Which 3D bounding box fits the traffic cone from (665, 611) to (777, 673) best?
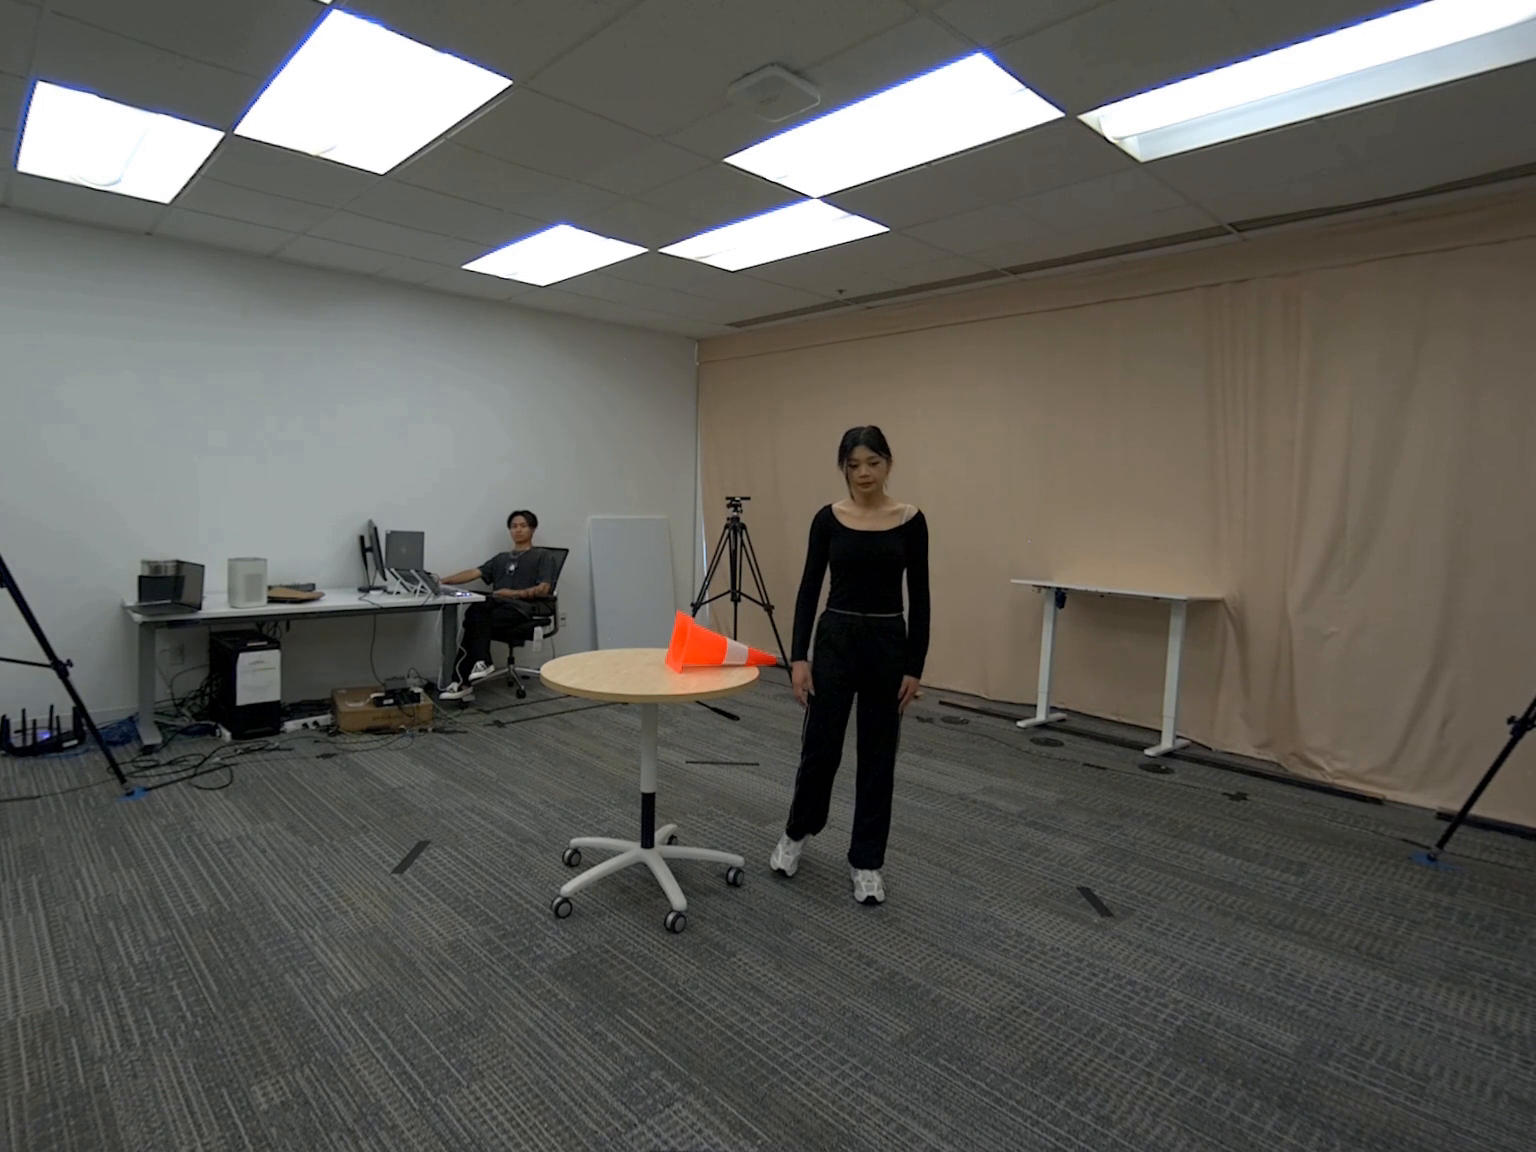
[{"bbox_3d":[-0.151,0.273,3.048,0.377,0.203,0.208,13,2,-19],"label":"traffic cone"}]
